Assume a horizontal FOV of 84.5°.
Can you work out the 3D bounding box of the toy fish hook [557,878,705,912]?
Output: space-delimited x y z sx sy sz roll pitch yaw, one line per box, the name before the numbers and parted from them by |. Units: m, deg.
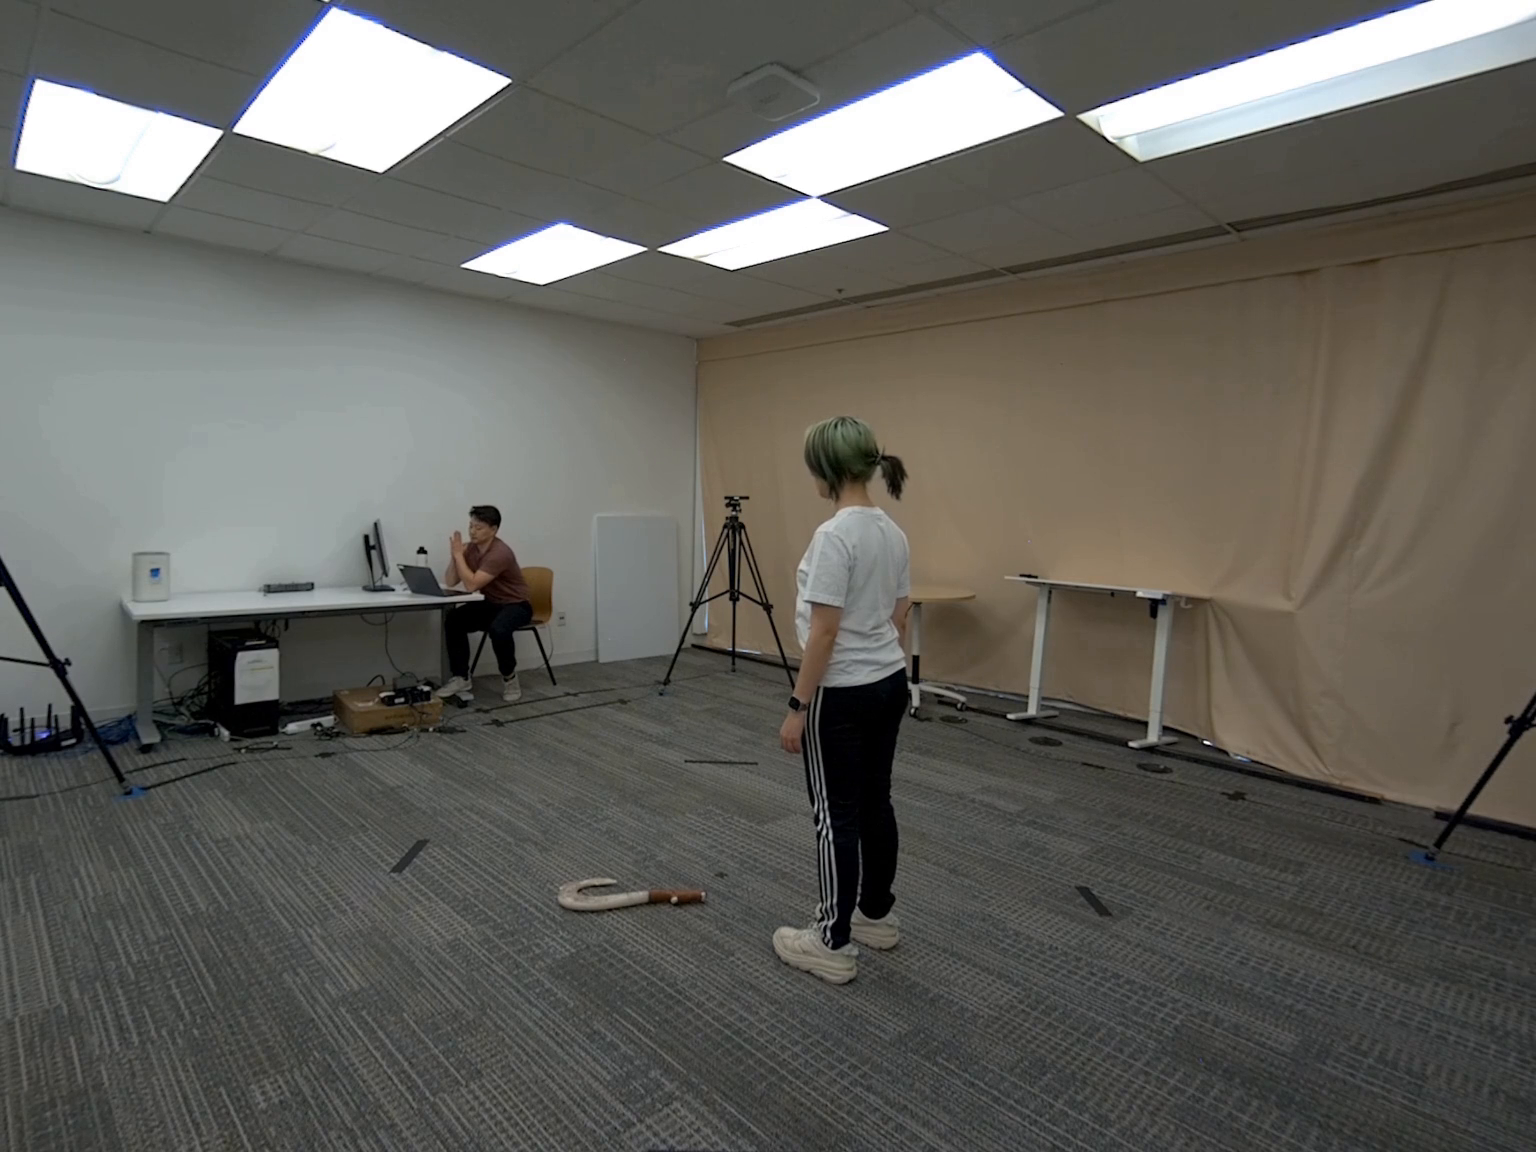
toy fish hook | -0.475 1.091 2.915 0.504 0.048 0.226 2 6 -6
